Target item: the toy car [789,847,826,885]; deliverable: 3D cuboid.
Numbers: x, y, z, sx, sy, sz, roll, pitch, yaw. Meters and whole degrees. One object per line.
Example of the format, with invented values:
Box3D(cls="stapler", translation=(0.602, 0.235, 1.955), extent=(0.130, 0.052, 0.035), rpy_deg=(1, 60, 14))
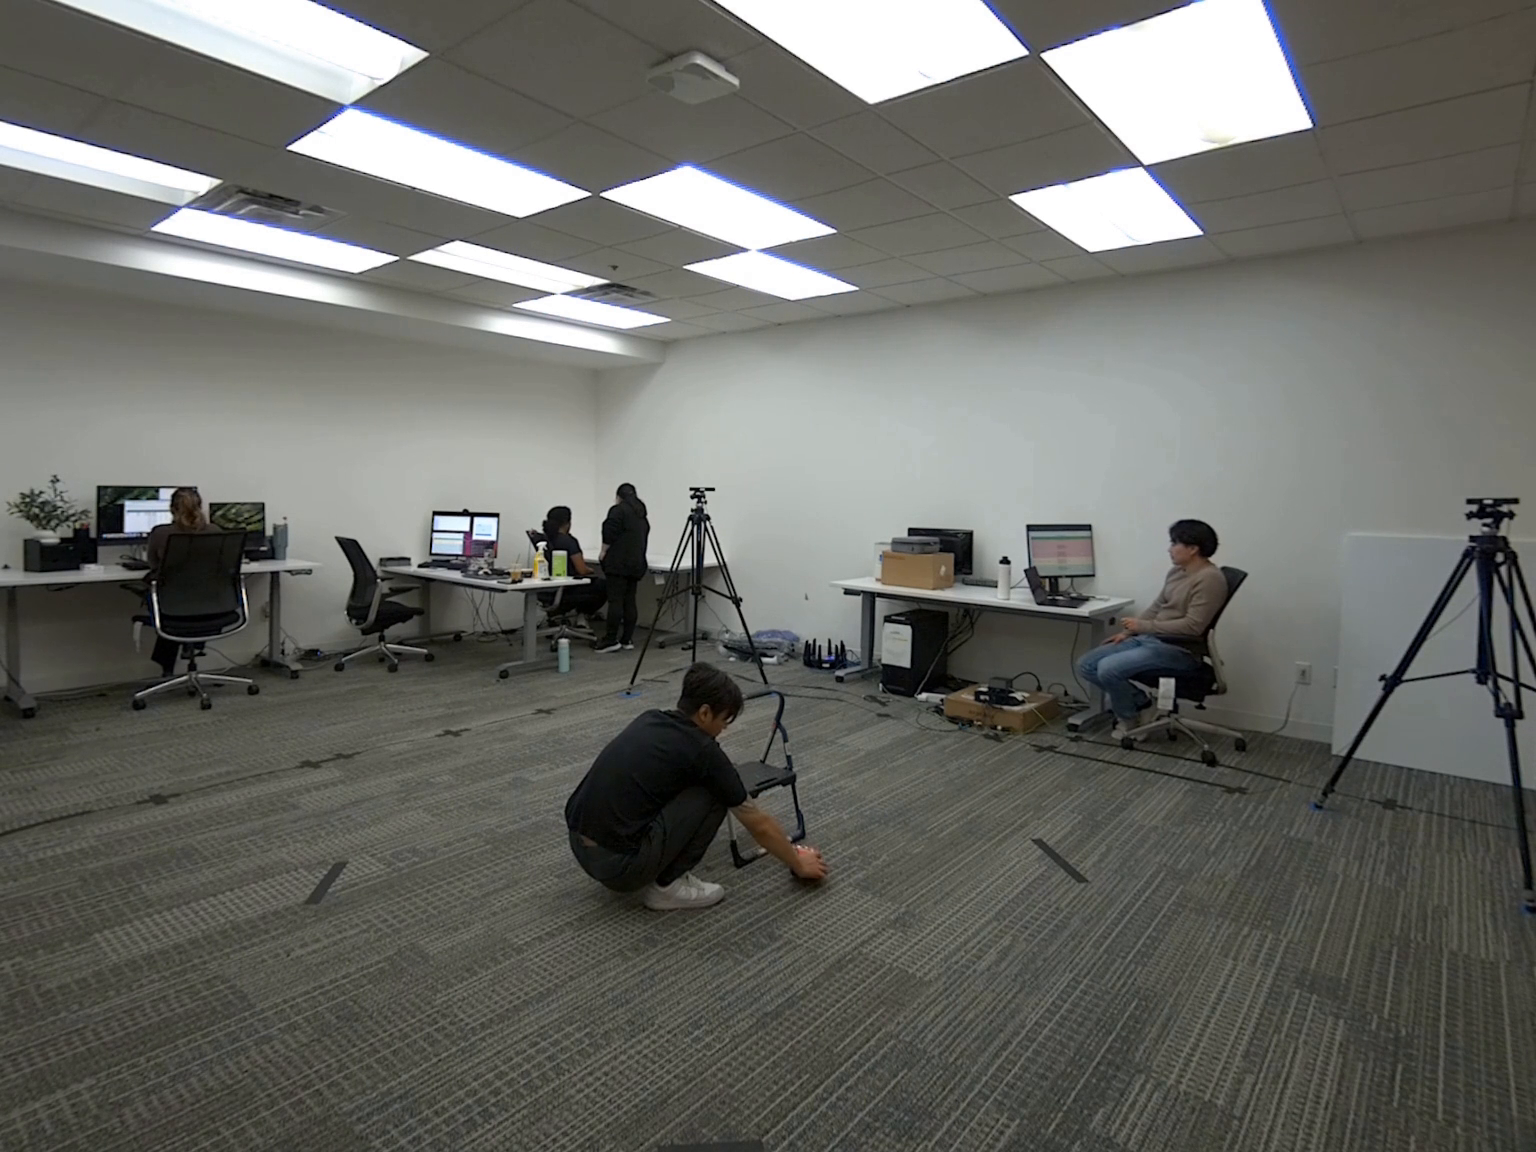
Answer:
Box3D(cls="toy car", translation=(0.128, 1.056, 3.072), extent=(0.129, 0.083, 0.256), rpy_deg=(11, -1, -7))
